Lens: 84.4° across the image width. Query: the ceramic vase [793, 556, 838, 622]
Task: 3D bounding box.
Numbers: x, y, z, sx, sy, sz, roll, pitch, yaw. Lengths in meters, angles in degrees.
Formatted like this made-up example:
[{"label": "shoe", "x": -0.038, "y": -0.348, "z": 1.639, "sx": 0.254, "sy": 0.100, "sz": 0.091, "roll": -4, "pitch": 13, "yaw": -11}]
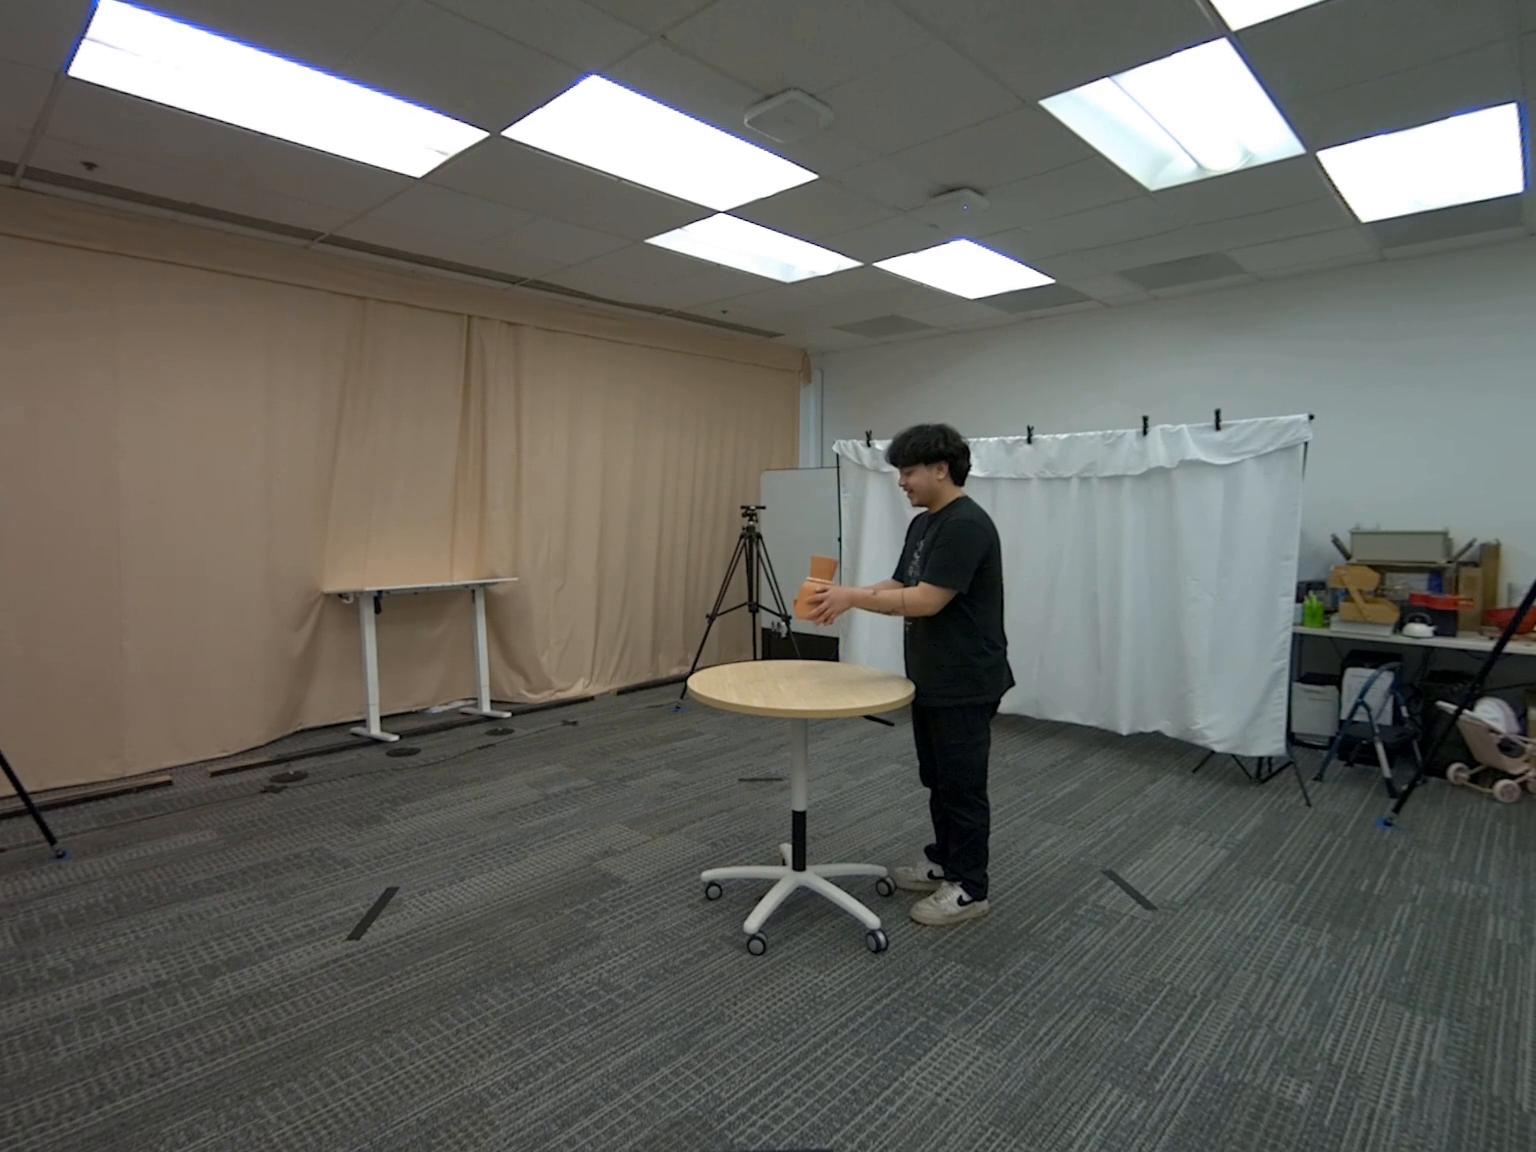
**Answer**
[{"label": "ceramic vase", "x": 0.189, "y": 0.049, "z": 2.874, "sx": 0.160, "sy": 0.220, "sz": 0.134, "roll": 11, "pitch": -1, "yaw": 4}]
